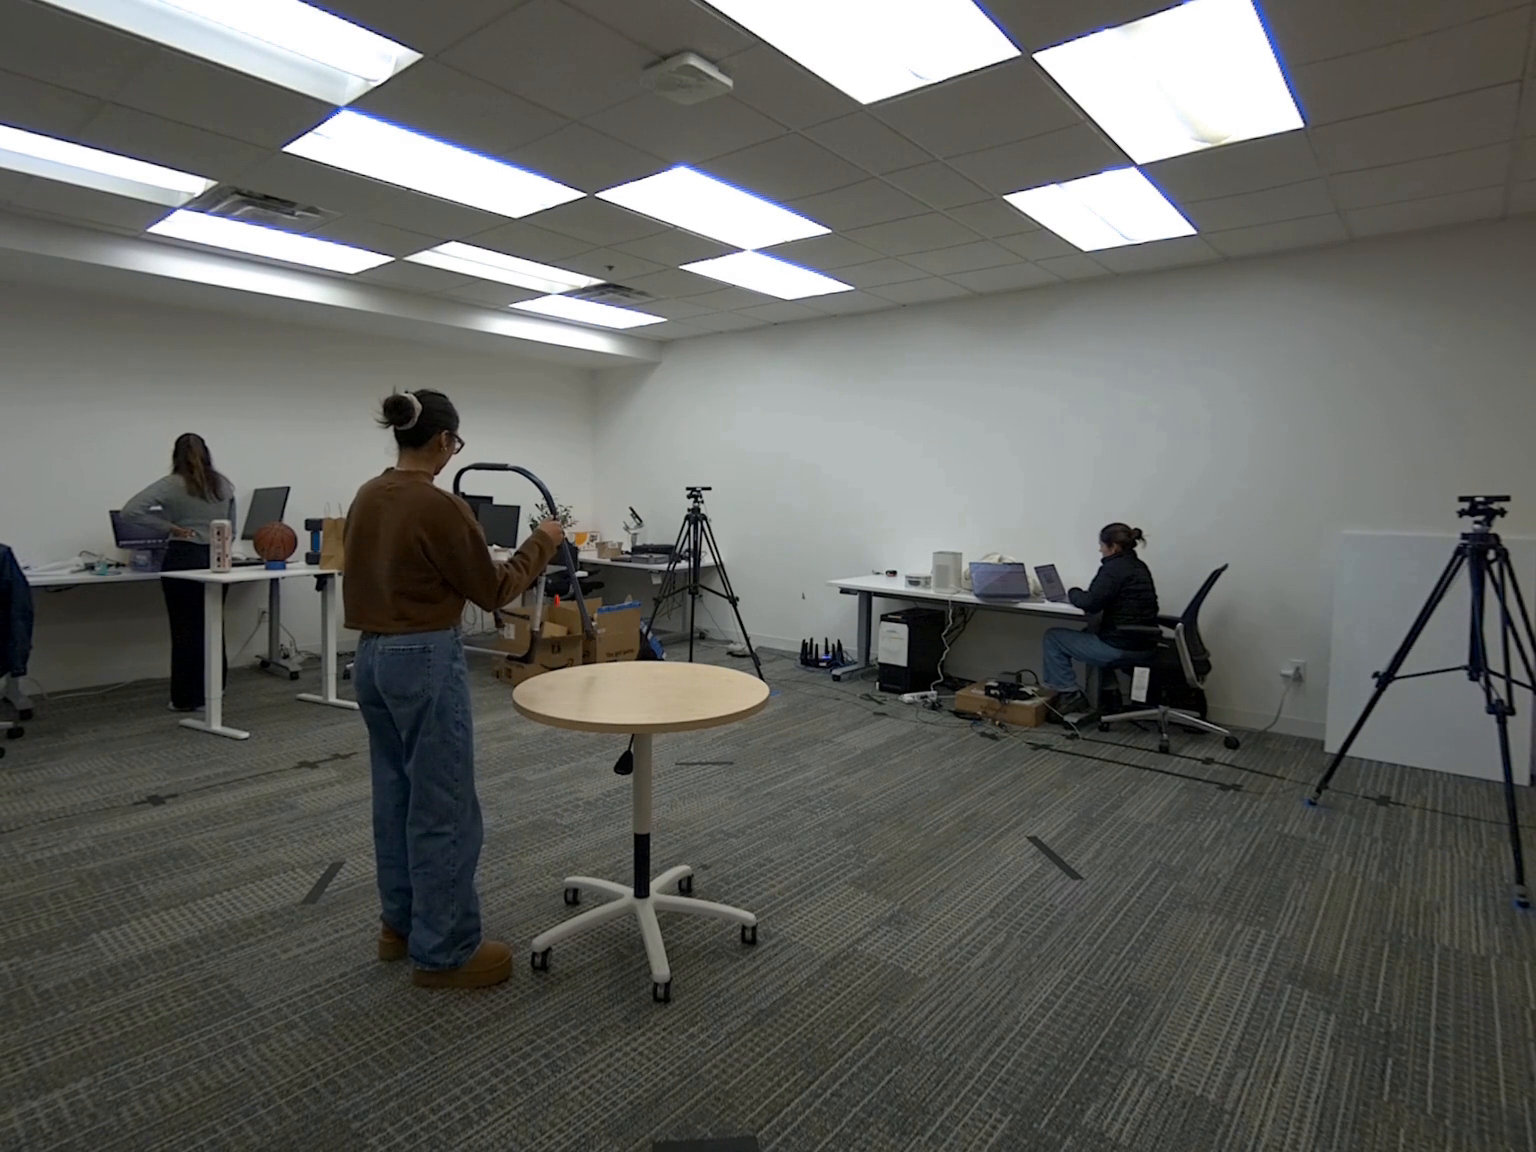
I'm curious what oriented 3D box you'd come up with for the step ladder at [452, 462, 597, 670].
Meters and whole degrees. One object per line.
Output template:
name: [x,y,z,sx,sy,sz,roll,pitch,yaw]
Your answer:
step ladder: [-0.861,-0.066,2.774,0.441,0.601,0.343,4,9,23]
